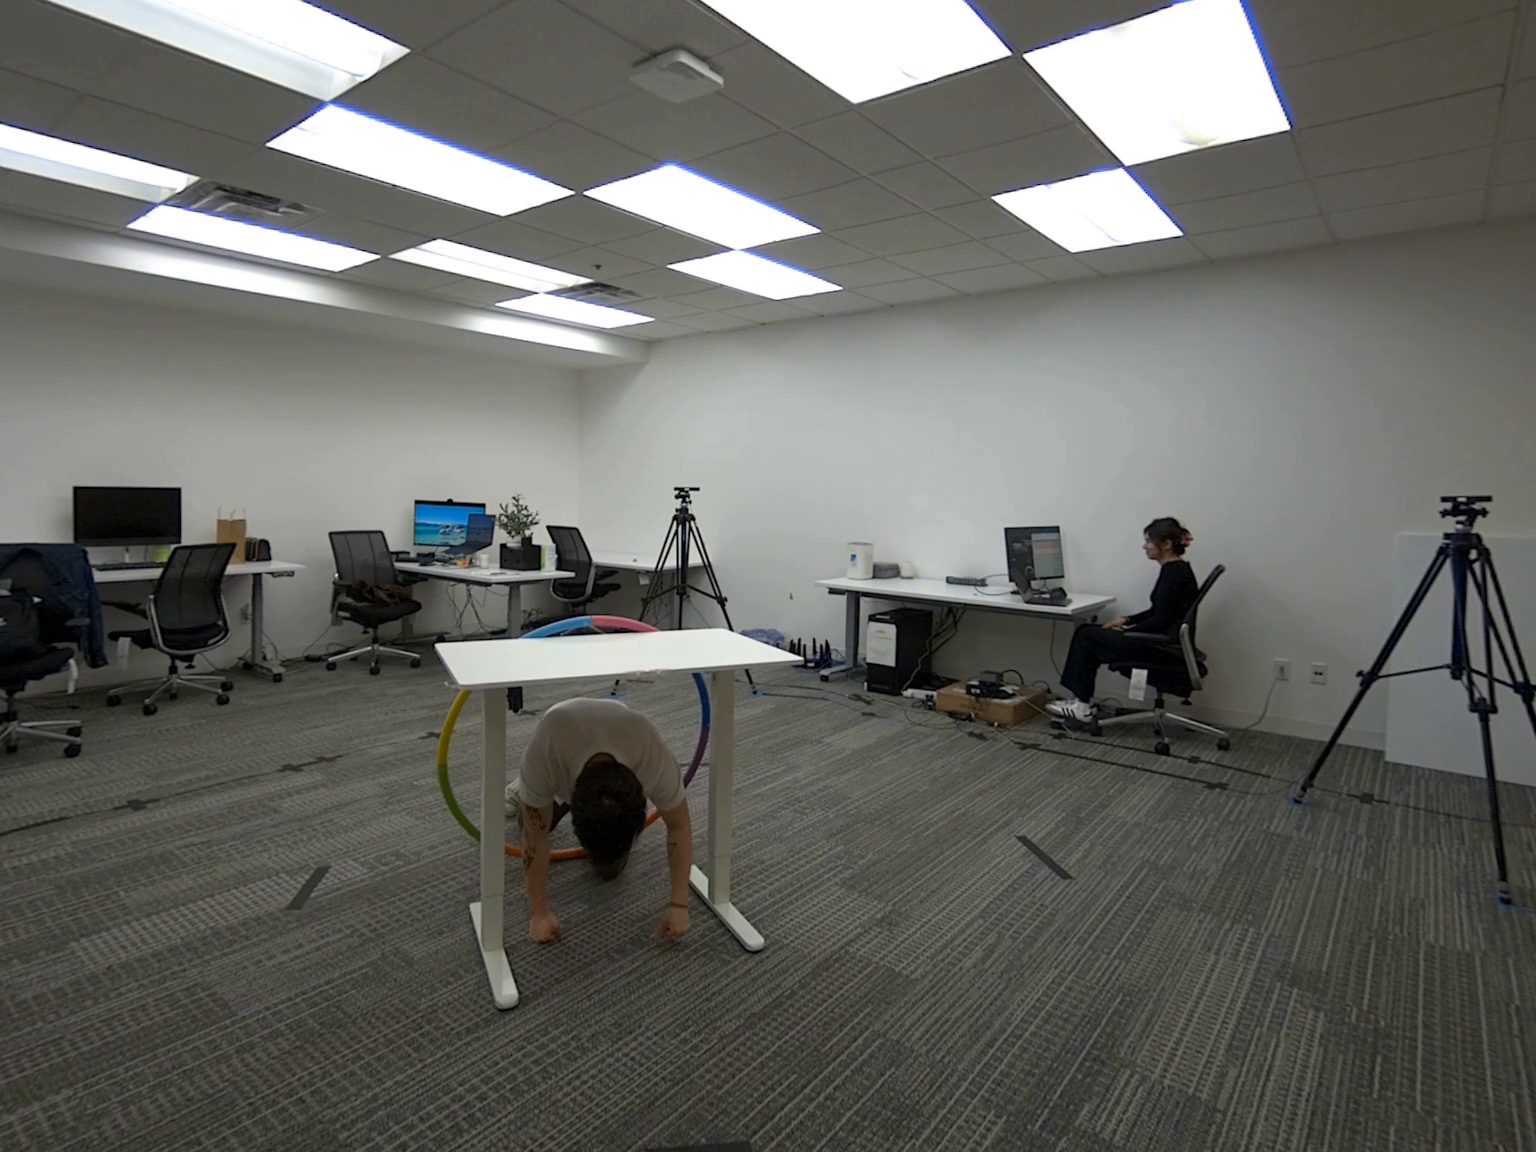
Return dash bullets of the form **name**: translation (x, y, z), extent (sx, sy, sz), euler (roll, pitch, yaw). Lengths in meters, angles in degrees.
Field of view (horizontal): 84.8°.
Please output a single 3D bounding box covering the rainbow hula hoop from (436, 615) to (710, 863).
- **rainbow hula hoop**: translation (-0.684, 0.594, 3.040), extent (0.955, 0.965, 0.037), euler (-1, 20, -25)
